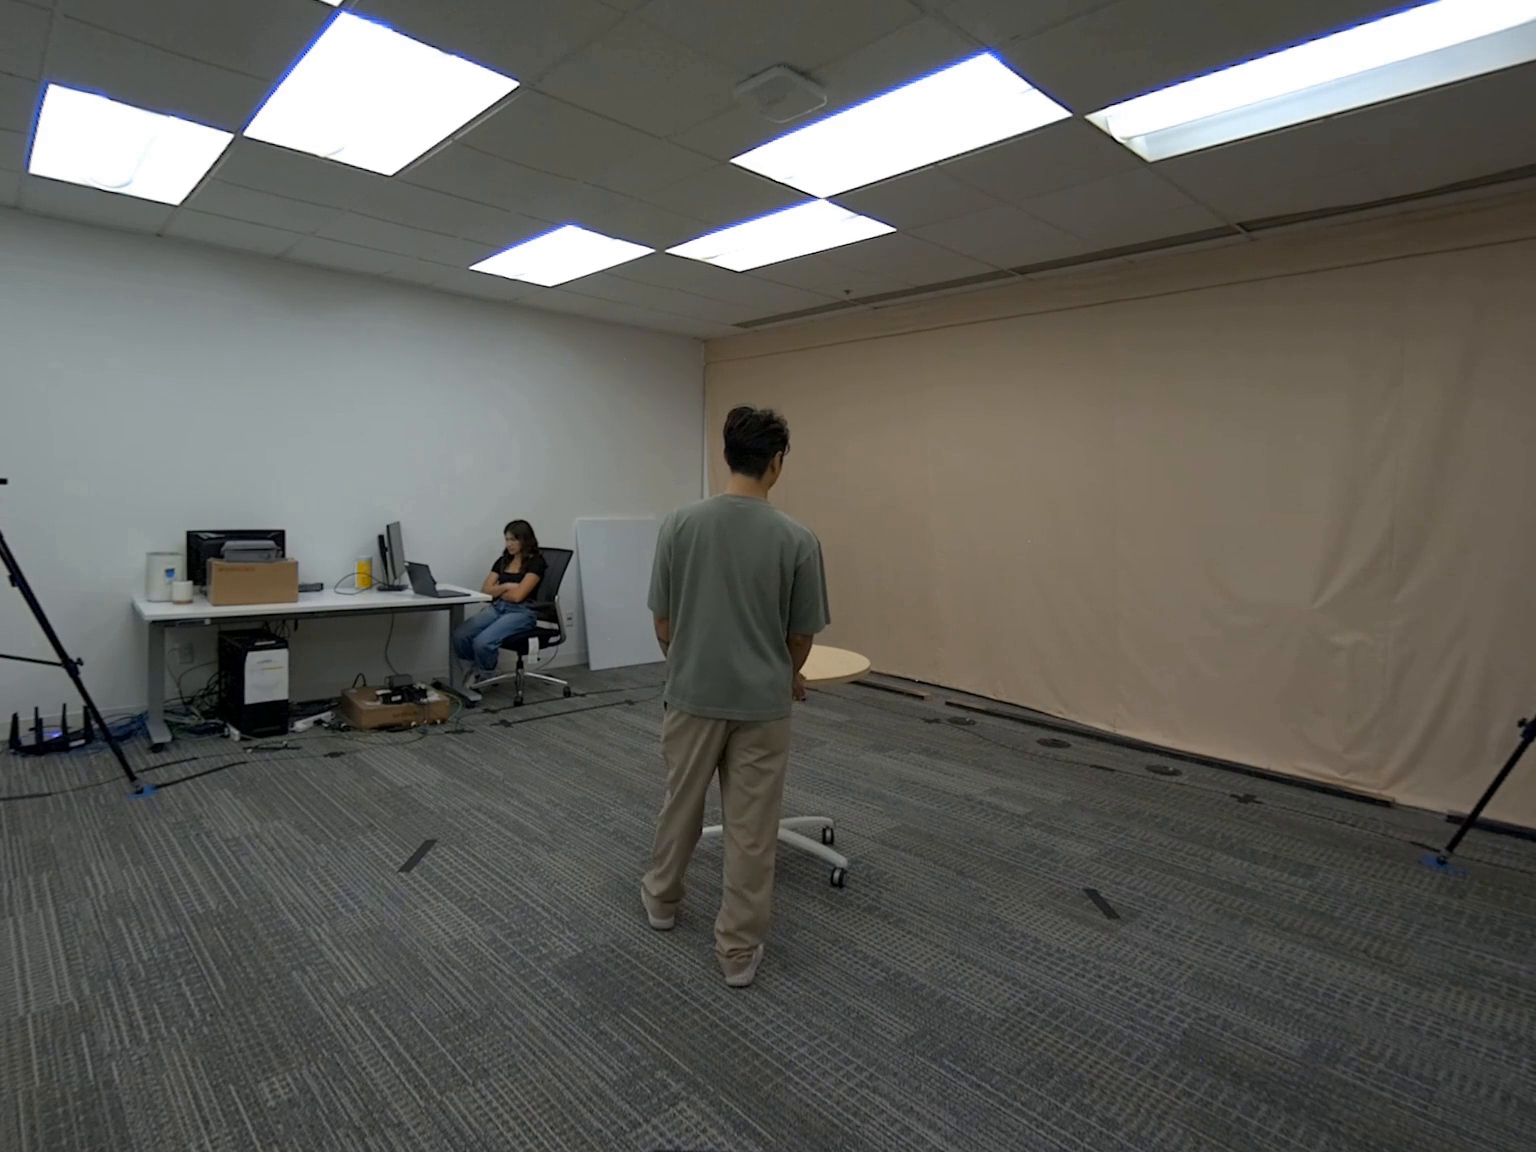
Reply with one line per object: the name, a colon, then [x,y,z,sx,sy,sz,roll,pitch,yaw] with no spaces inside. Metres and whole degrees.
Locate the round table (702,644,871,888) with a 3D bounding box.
round table: [0.006,0.709,3.239,0.784,0.784,0.788,1,4,-1]
